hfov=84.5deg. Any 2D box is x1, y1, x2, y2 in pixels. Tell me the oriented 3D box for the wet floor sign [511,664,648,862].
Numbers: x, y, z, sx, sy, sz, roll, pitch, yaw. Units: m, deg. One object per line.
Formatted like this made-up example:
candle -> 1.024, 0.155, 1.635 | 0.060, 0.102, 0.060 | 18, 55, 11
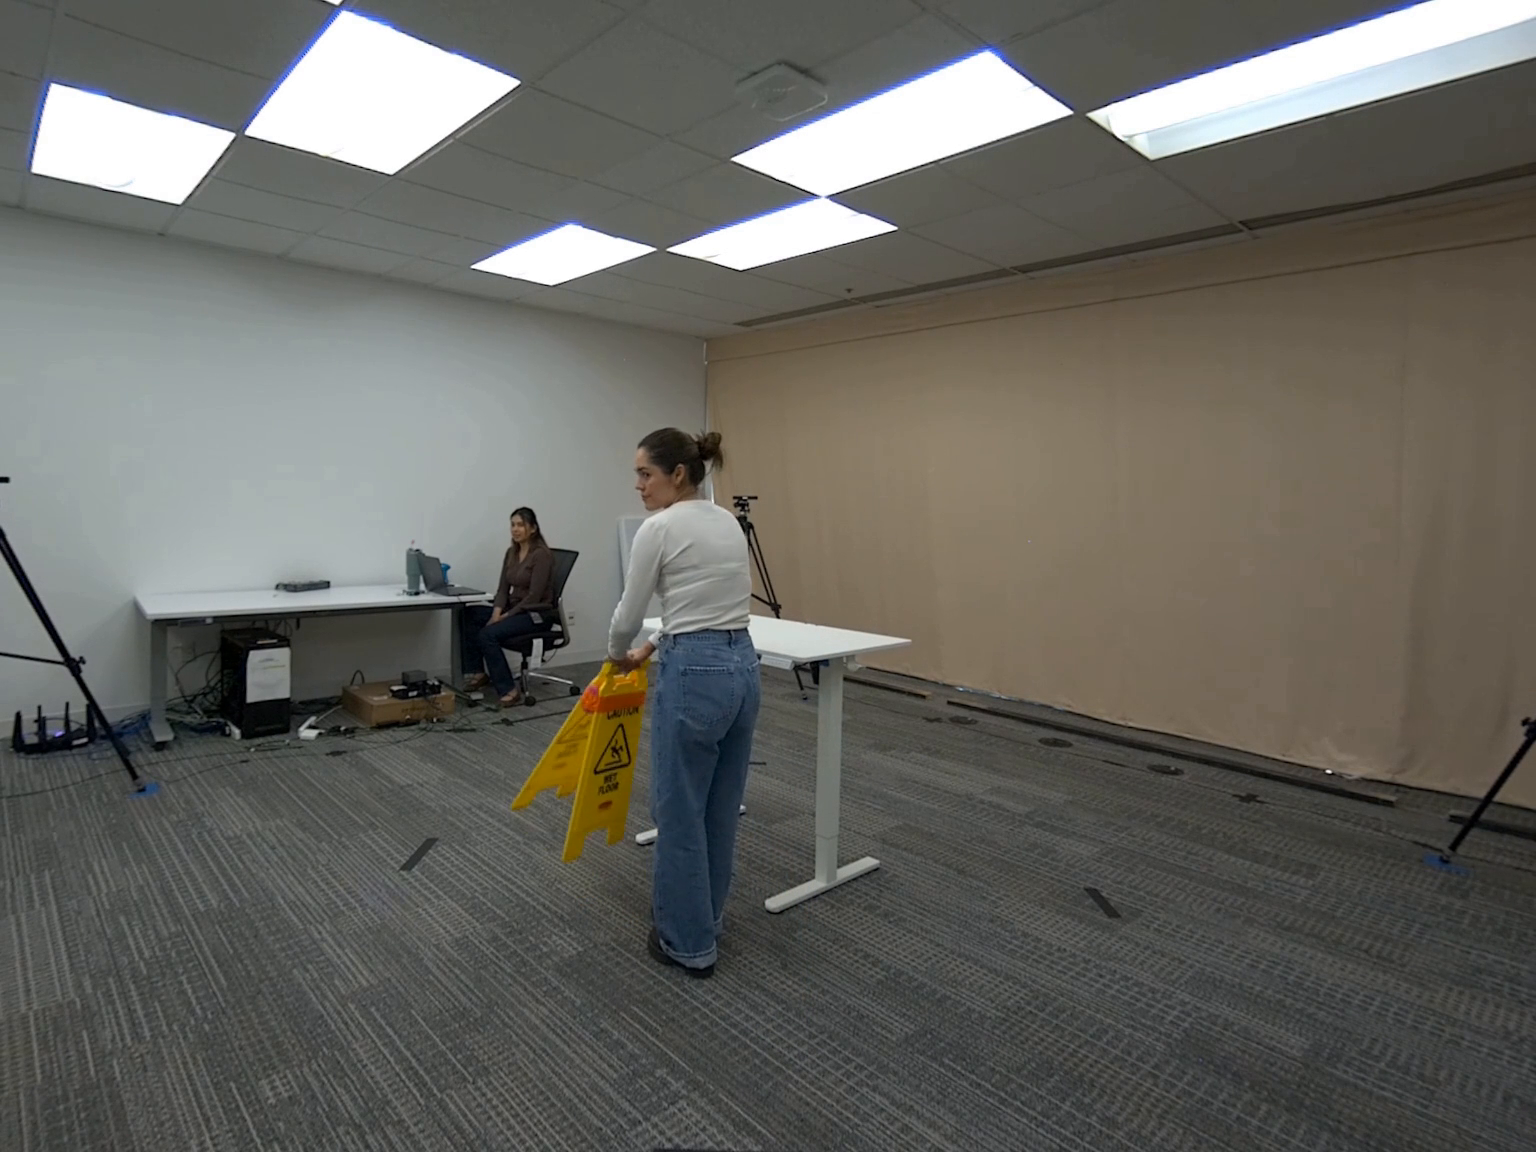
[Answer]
wet floor sign -> -0.563, 0.546, 2.778 | 0.298, 0.642, 0.276 | 30, 16, 30
